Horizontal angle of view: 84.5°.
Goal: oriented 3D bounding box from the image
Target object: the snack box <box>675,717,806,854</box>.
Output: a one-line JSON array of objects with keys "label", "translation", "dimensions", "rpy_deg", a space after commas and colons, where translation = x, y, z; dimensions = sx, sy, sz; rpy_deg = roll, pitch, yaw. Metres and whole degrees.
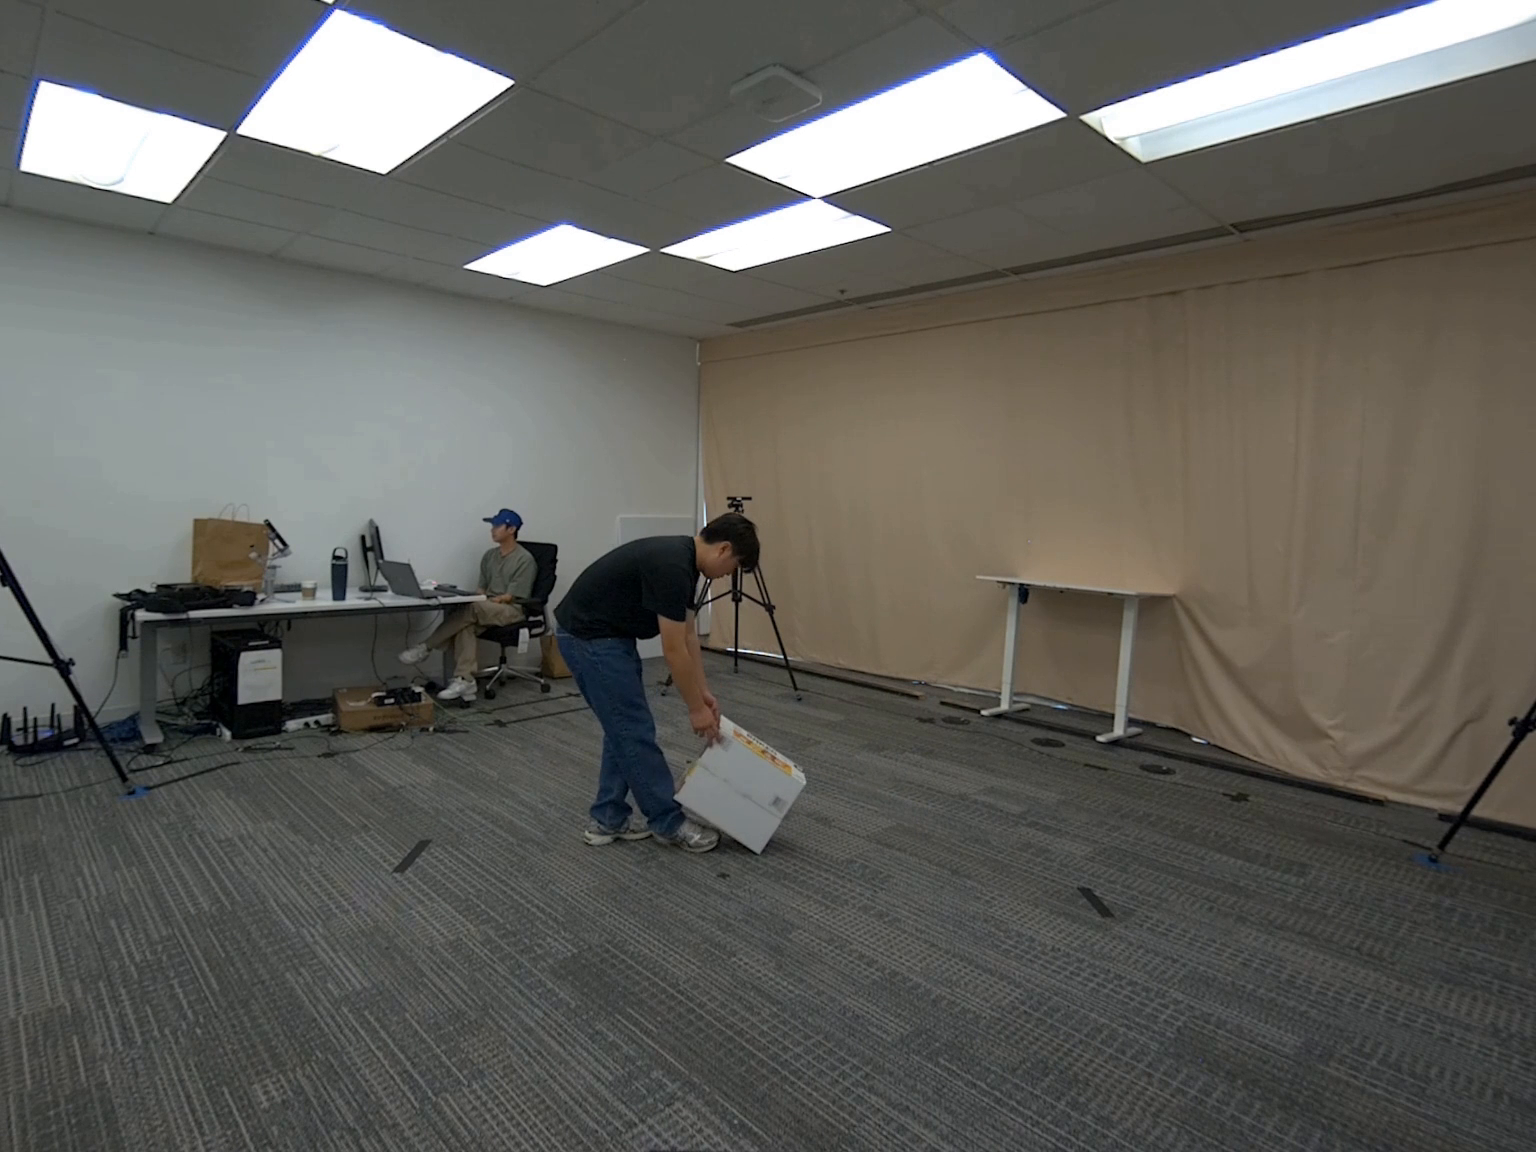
[{"label": "snack box", "translation": [-0.120, 0.832, 3.376], "dimensions": [0.405, 0.340, 0.206], "rpy_deg": [33, 3, 0]}]
